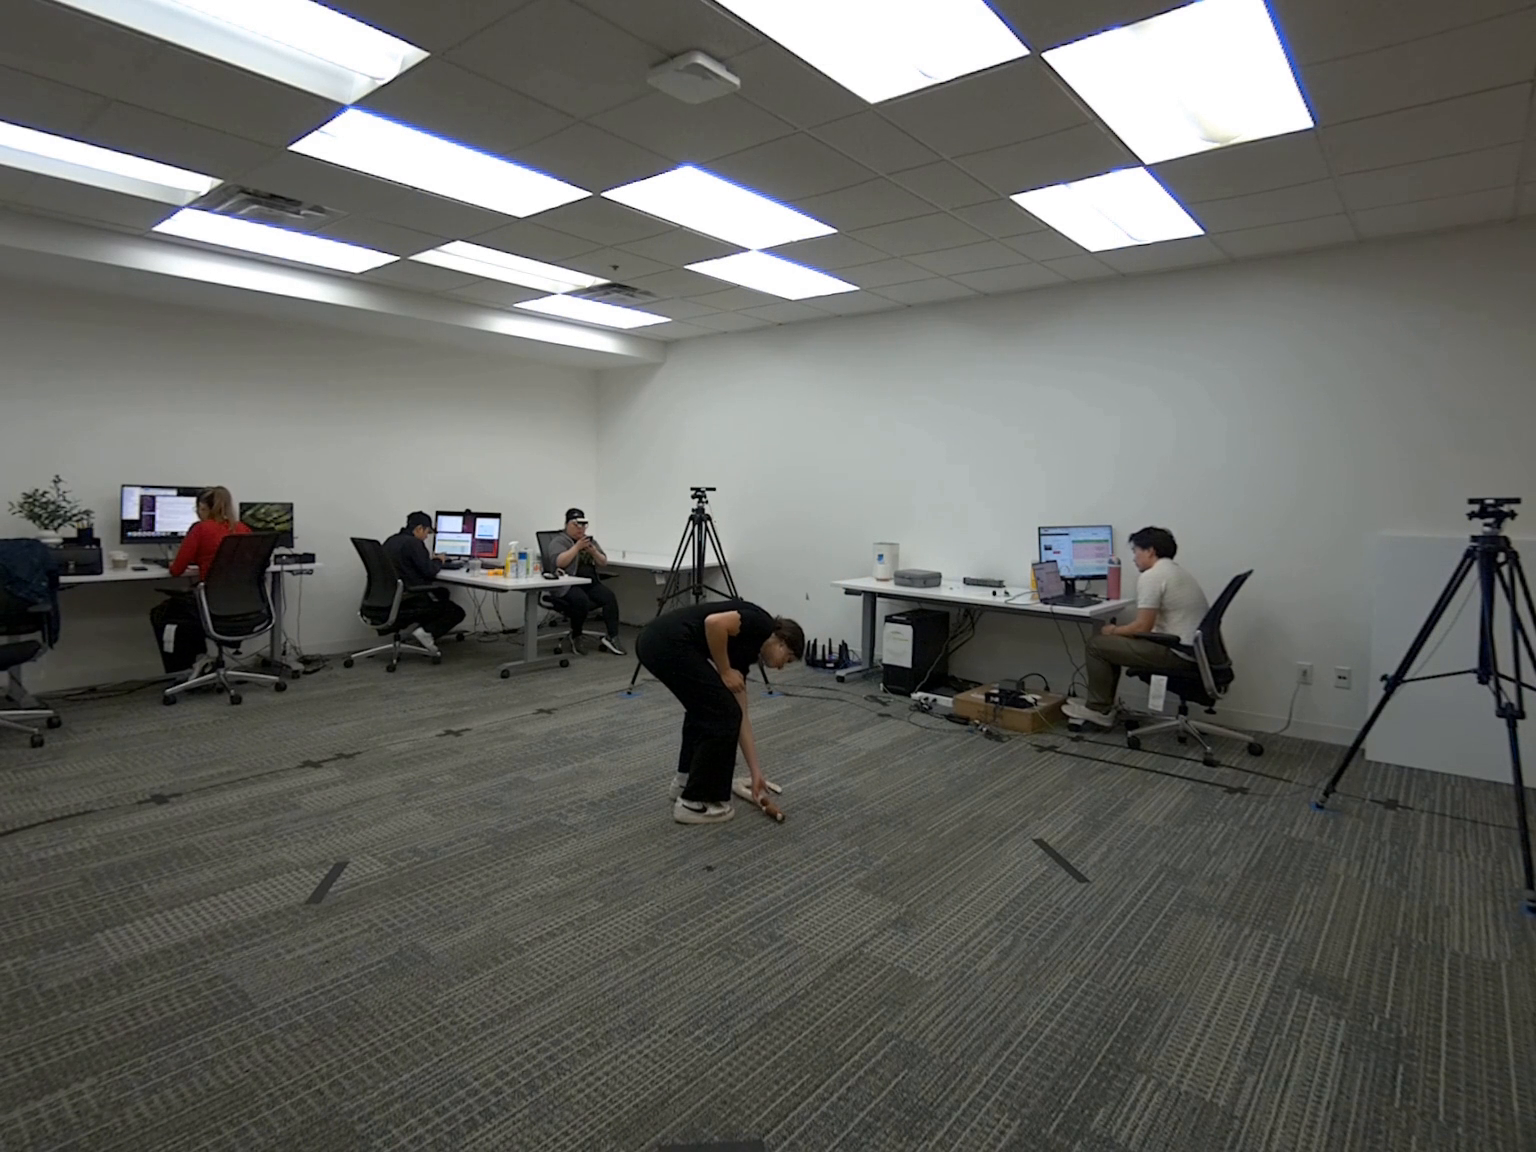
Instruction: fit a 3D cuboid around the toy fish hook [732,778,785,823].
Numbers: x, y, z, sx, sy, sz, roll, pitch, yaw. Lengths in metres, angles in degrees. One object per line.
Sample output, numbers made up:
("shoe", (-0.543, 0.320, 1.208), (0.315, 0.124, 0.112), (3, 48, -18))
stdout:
("toy fish hook", (-0.011, 0.981, 3.789), (0.220, 0.048, 0.520), (-3, 7, -24))
